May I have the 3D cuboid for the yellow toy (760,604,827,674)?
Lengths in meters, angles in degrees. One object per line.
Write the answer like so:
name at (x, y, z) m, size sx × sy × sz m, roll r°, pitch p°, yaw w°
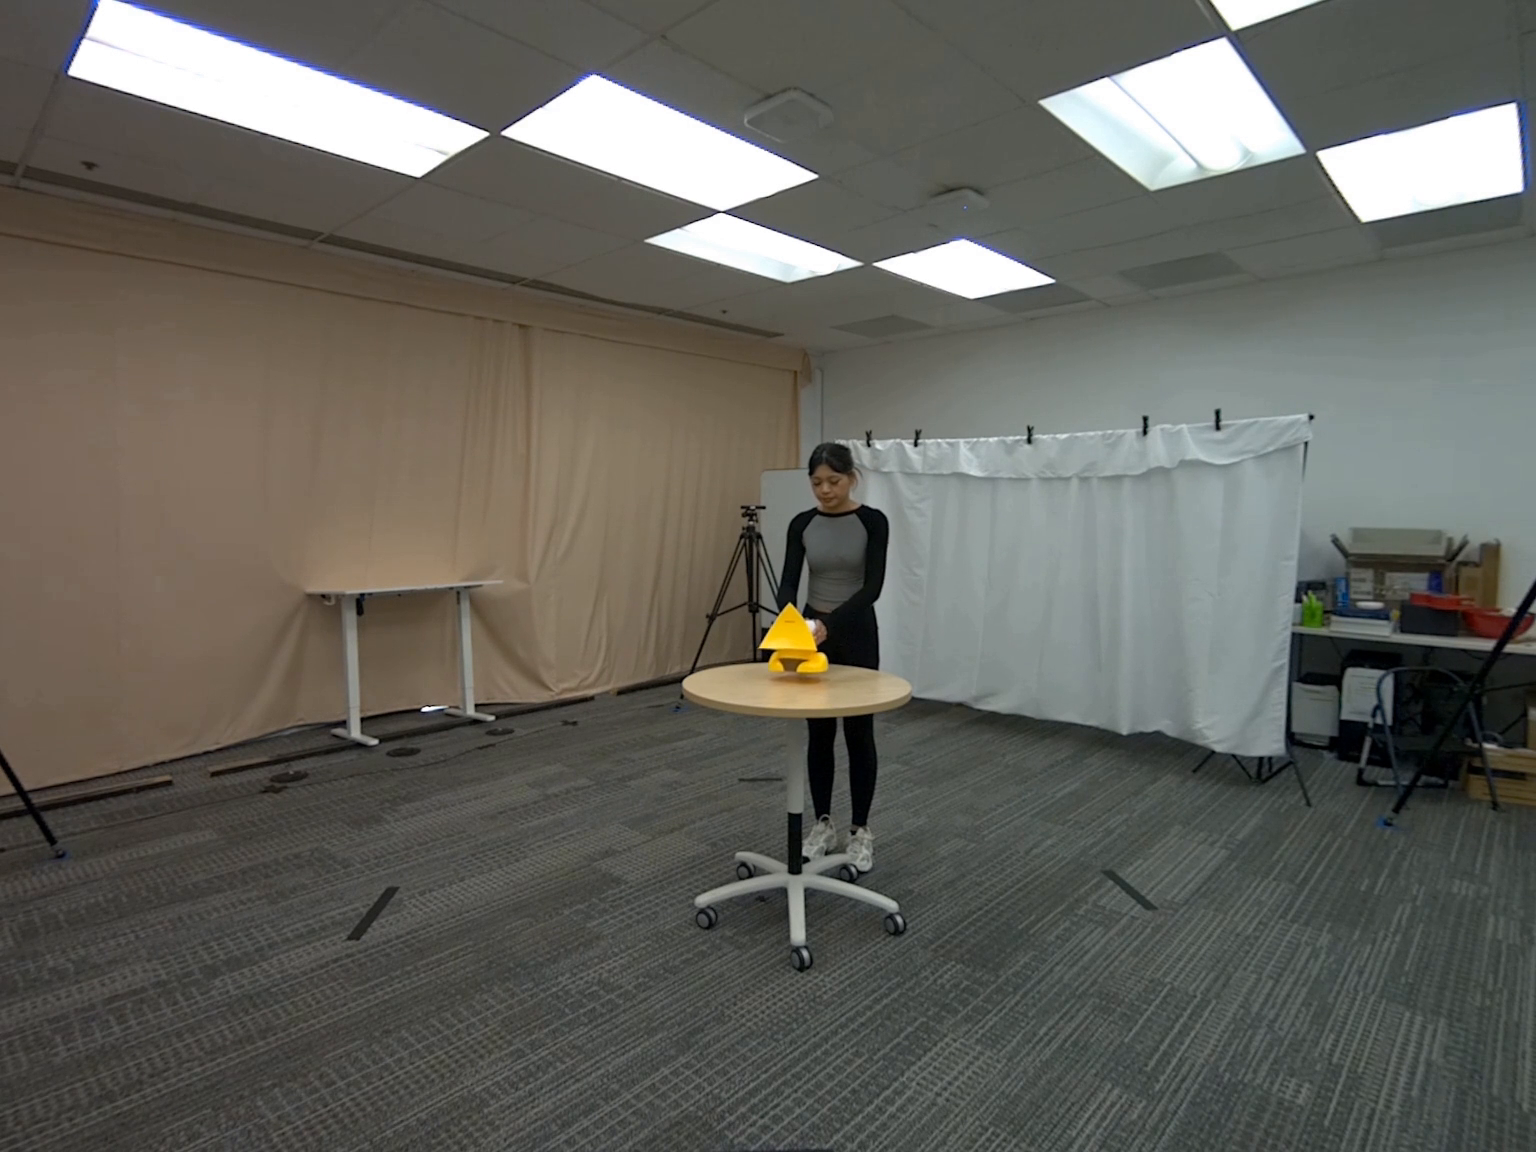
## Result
yellow toy at (0.104, 0.210, 2.879) m, size 0.210 × 0.230 × 0.188 m, roll 1°, pitch 2°, yaw 24°
